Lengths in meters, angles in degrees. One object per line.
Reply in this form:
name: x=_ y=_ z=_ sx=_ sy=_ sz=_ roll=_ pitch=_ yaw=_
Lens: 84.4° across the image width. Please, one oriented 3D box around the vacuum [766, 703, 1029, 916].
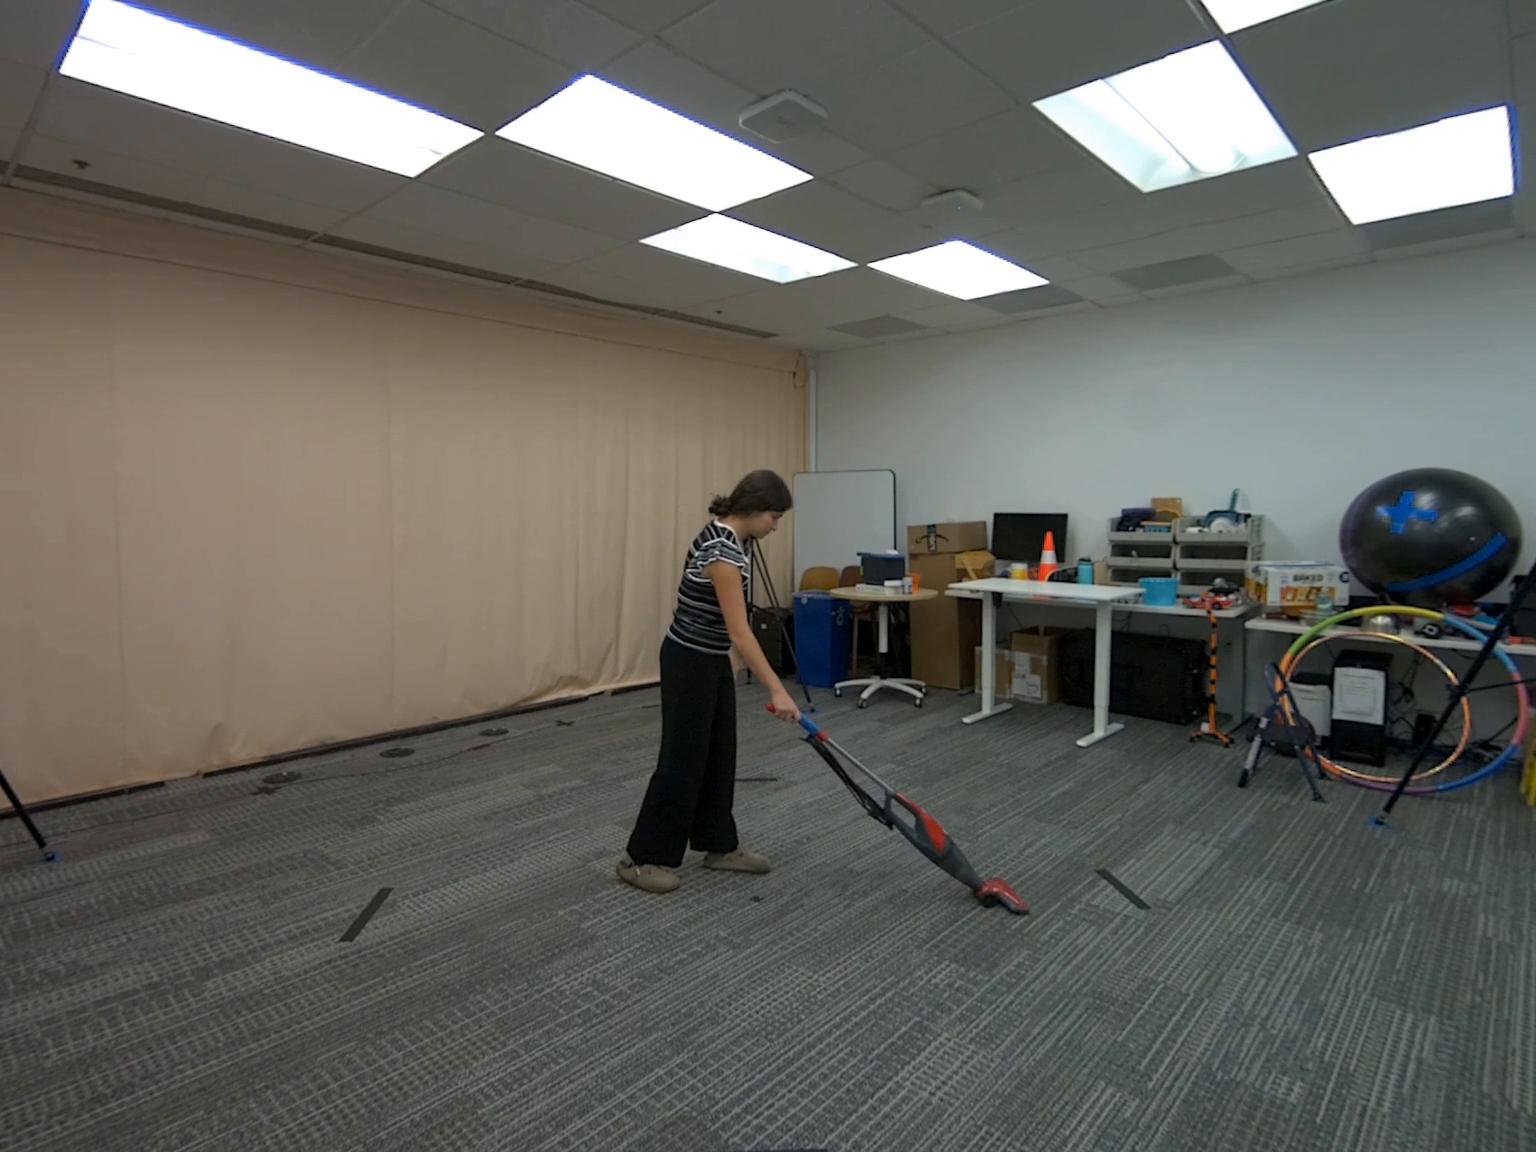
vacuum: x=0.410 y=0.793 z=2.950 sx=1.046 sy=0.144 sz=0.253 roll=40 pitch=-1 yaw=-3
